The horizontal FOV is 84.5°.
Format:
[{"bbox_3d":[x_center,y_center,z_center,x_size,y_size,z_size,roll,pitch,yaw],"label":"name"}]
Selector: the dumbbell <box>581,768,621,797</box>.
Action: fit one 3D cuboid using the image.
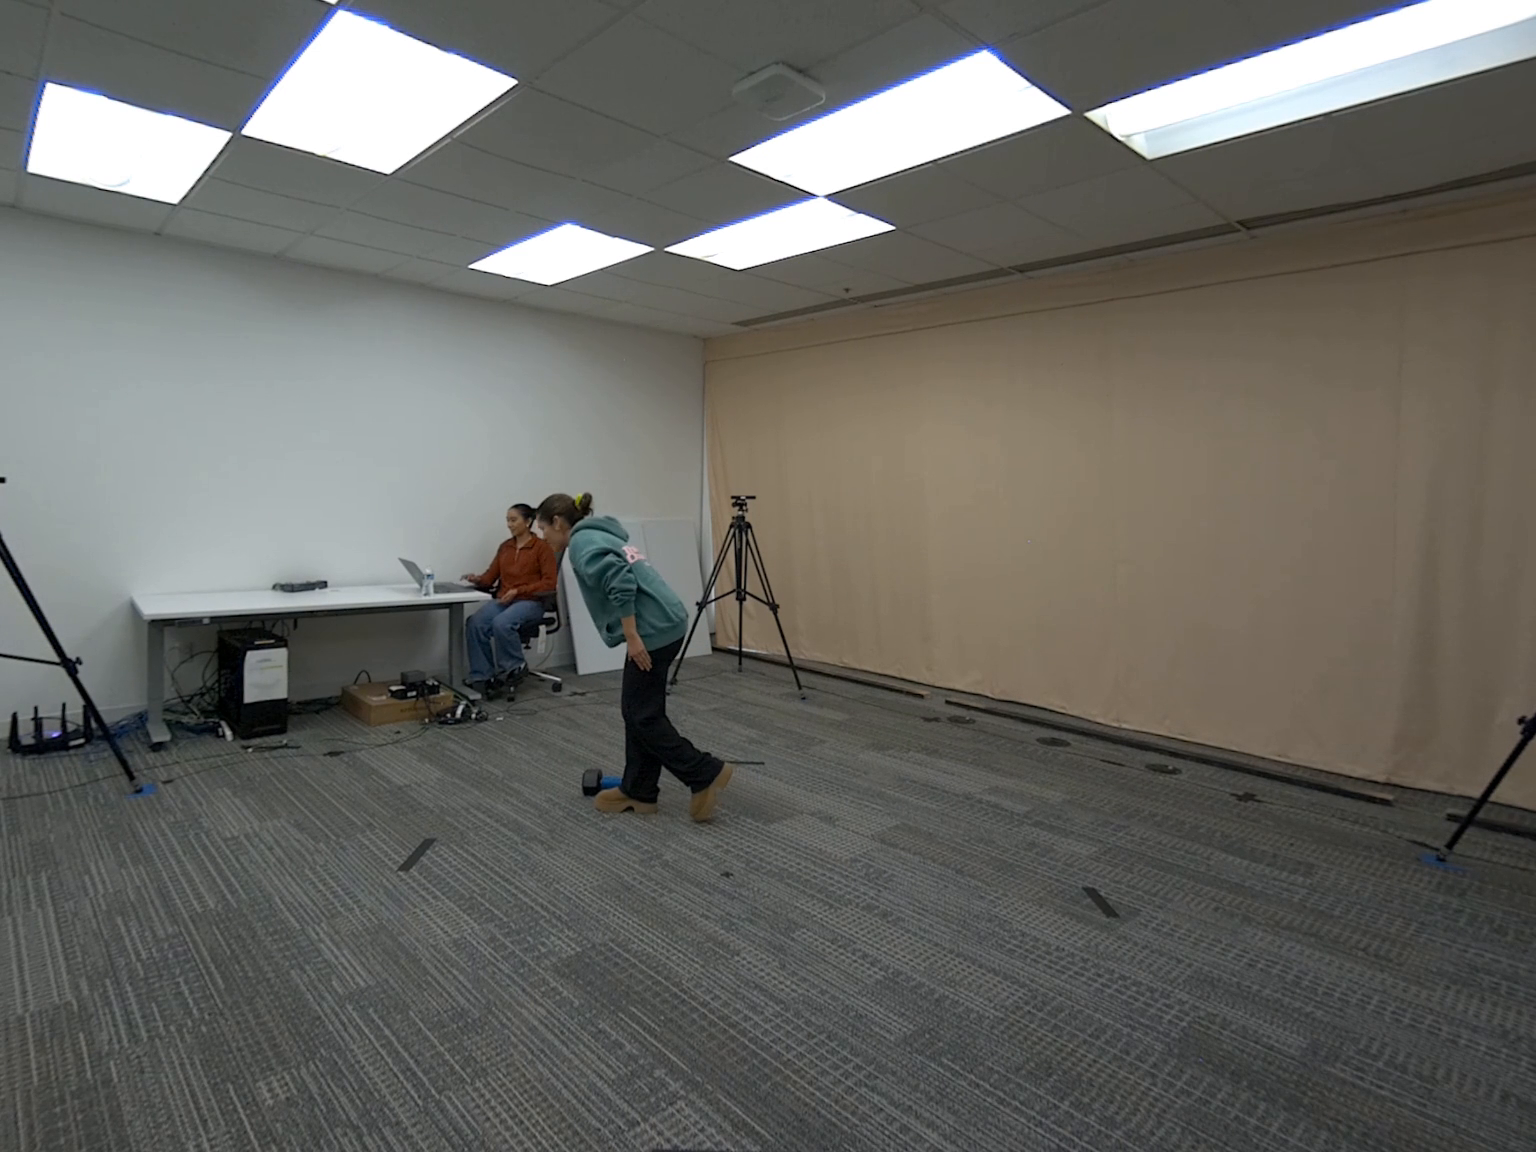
[{"bbox_3d":[-0.722,0.964,3.913,0.294,0.125,0.106,2,-25,3],"label":"dumbbell"}]
